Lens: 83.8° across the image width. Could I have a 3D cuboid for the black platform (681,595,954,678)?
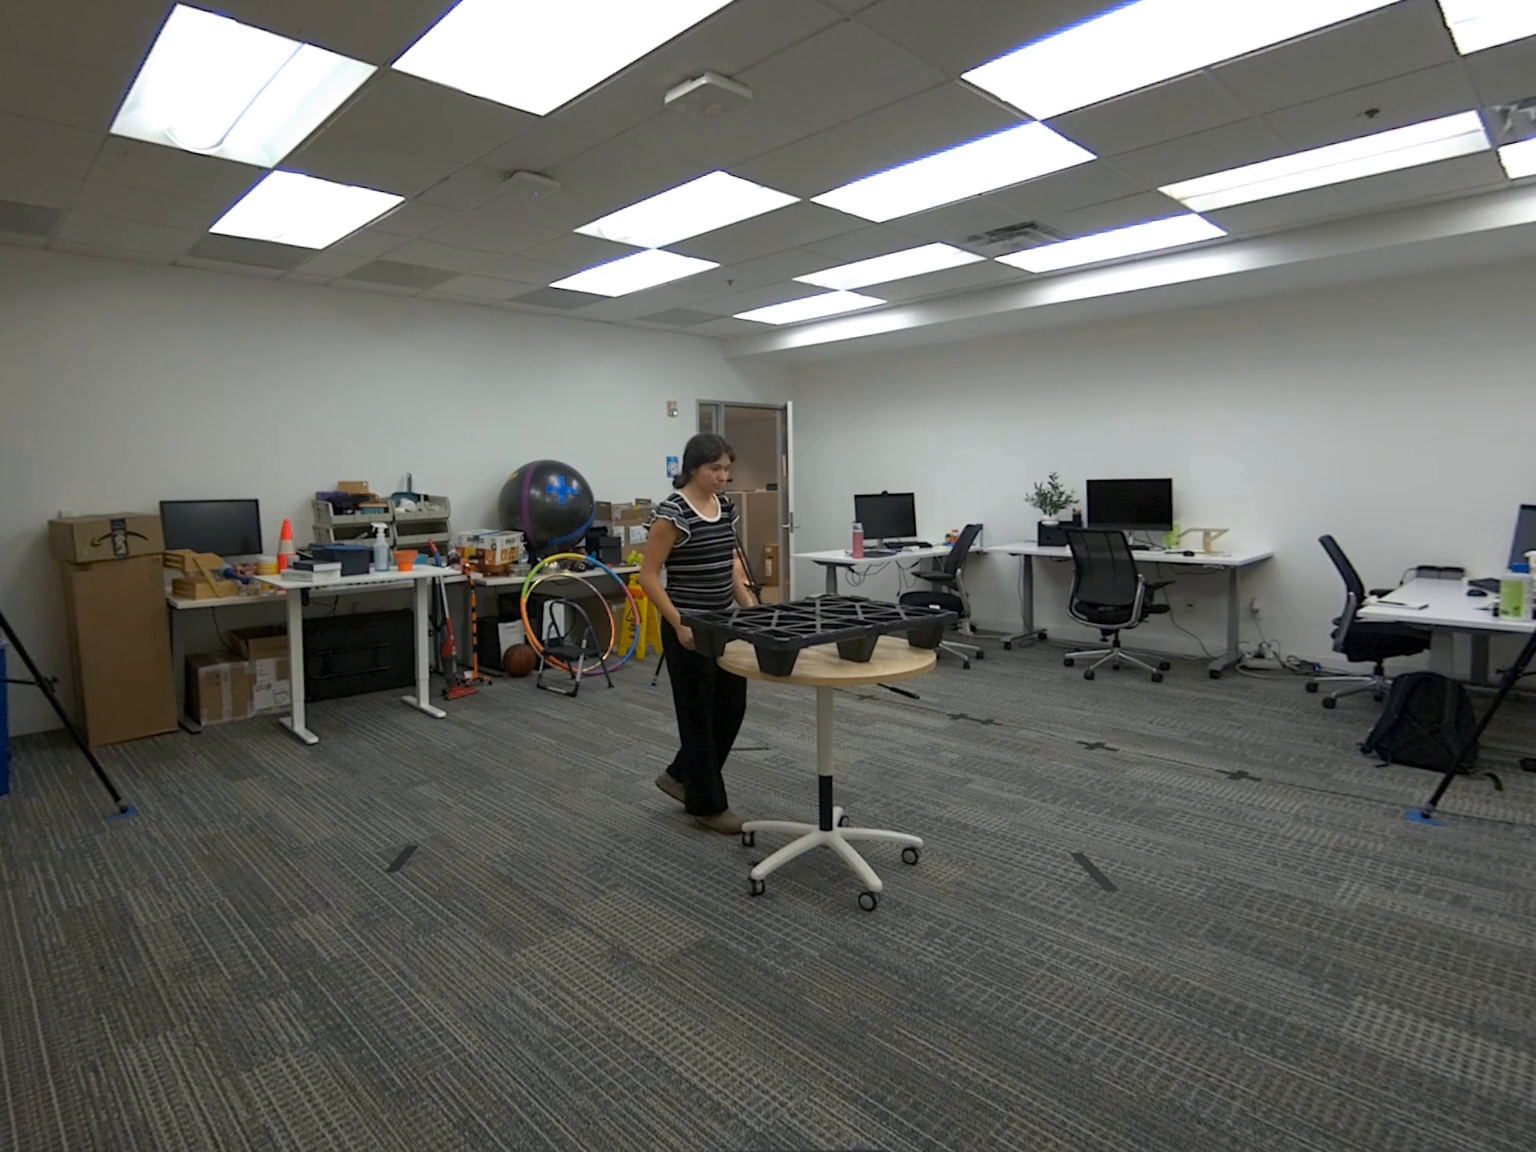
[{"bbox_3d":[0.183,0.202,3.033,0.785,0.142,0.624,-6,9,-36],"label":"black platform"}]
